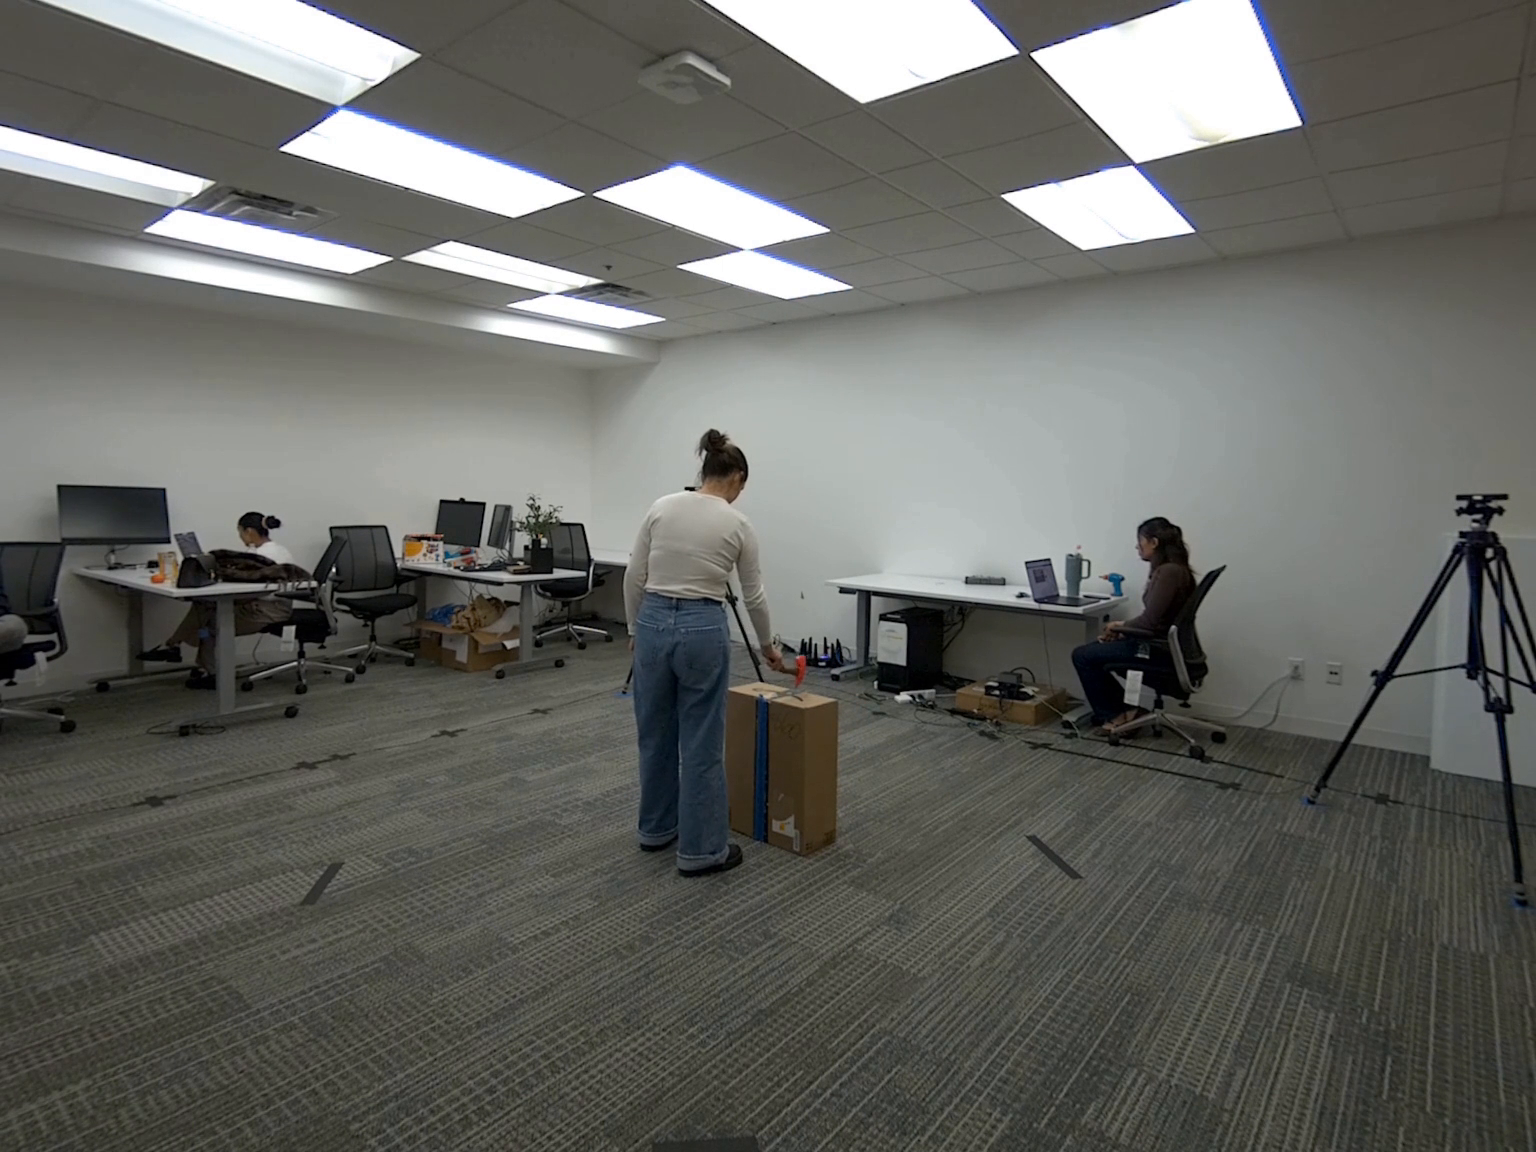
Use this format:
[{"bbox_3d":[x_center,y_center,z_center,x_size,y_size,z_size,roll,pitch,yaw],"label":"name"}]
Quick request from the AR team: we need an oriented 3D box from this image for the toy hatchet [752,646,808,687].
[{"bbox_3d":[0.068,0.340,3.375,0.031,0.132,0.259,14,-20,35],"label":"toy hatchet"}]
